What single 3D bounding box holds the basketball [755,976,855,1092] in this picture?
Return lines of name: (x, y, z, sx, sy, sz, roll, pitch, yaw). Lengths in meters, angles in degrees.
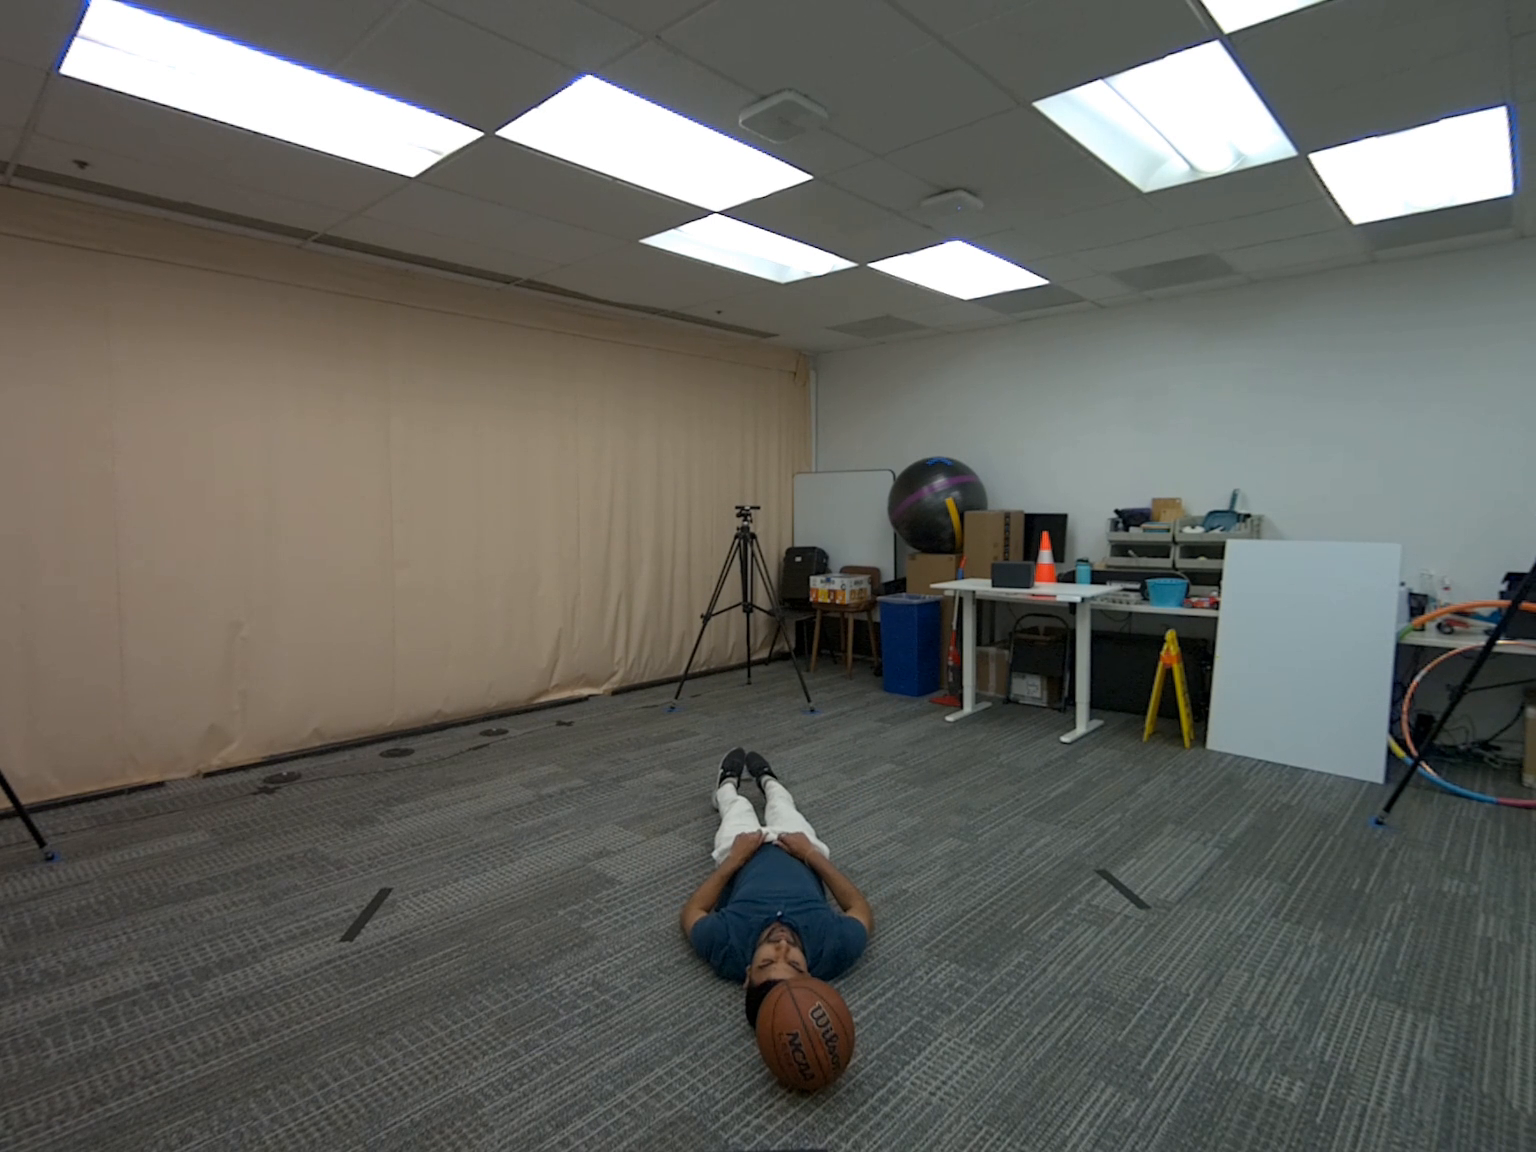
basketball: (0.097, 1.106, 2.032, 0.236, 0.235, 0.237, 0, 4, -2)
